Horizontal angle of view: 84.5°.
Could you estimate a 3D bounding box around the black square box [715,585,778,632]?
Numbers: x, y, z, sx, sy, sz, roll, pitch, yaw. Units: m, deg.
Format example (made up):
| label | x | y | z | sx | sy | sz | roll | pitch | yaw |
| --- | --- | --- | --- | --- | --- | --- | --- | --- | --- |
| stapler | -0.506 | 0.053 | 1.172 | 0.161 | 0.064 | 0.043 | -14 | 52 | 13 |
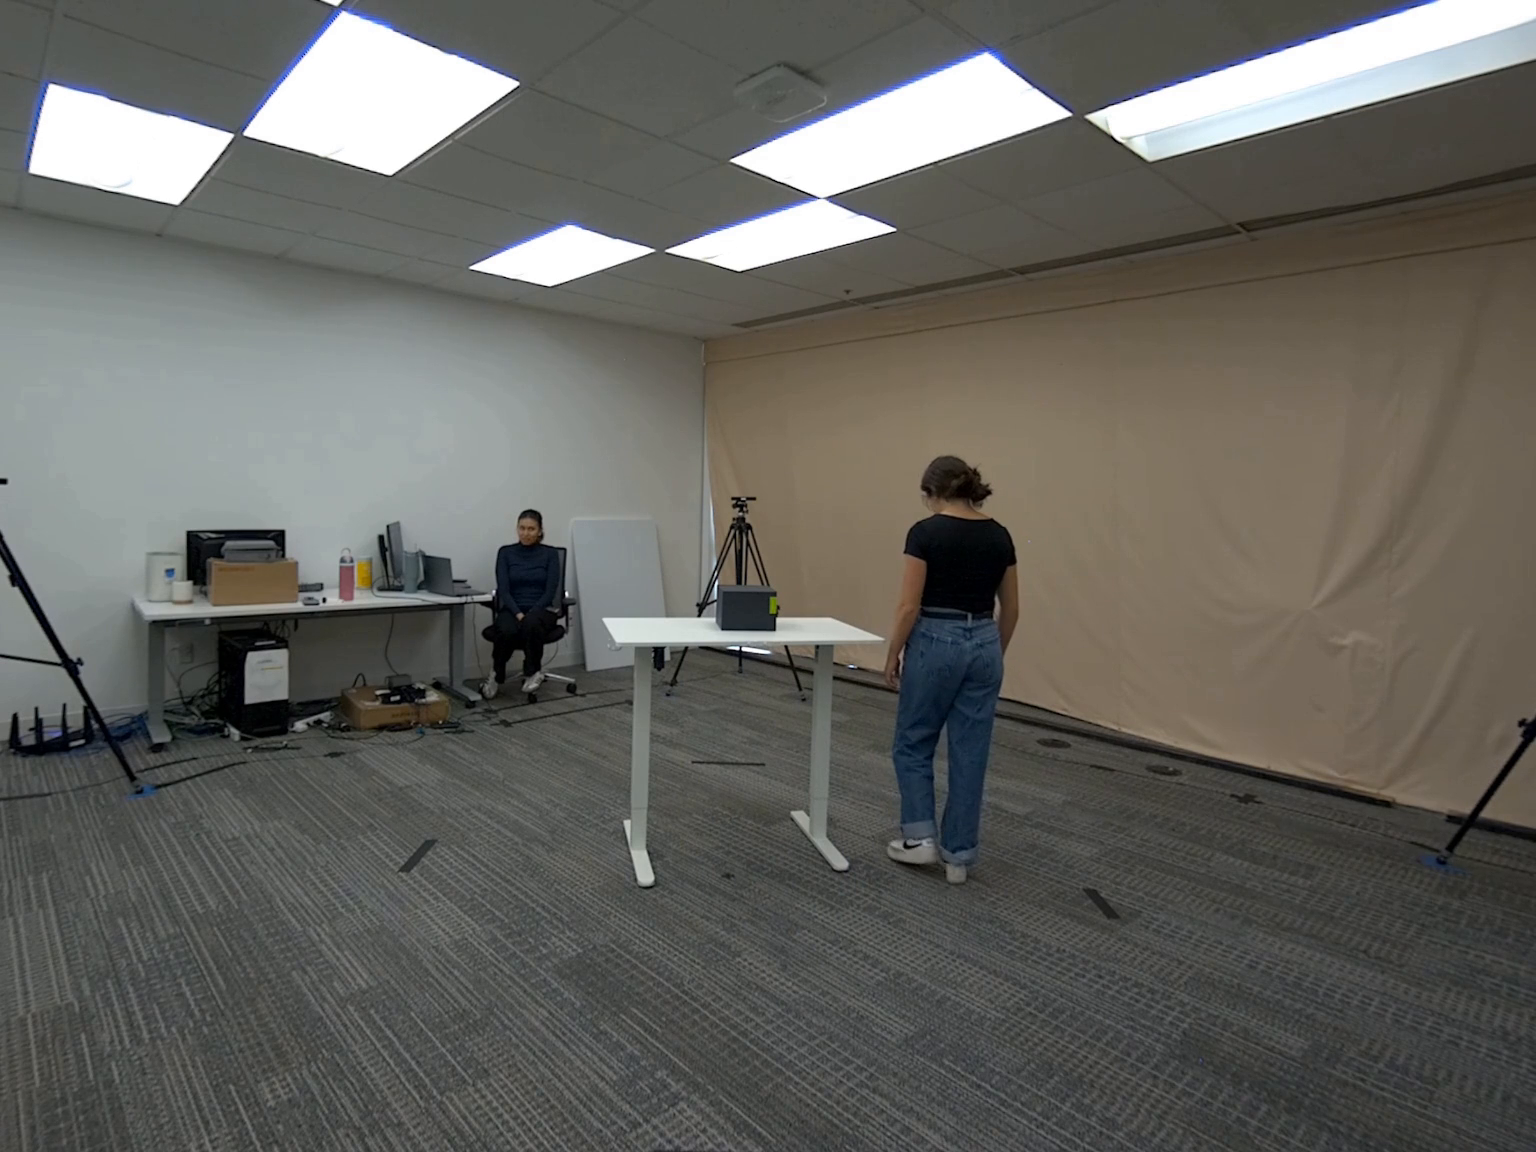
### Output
| label | x | y | z | sx | sy | sz | roll | pitch | yaw |
| --- | --- | --- | --- | --- | --- | --- | --- | --- | --- |
| black square box | -0.089 | 0.115 | 3.357 | 0.216 | 0.155 | 0.229 | 0 | 5 | -5 |
